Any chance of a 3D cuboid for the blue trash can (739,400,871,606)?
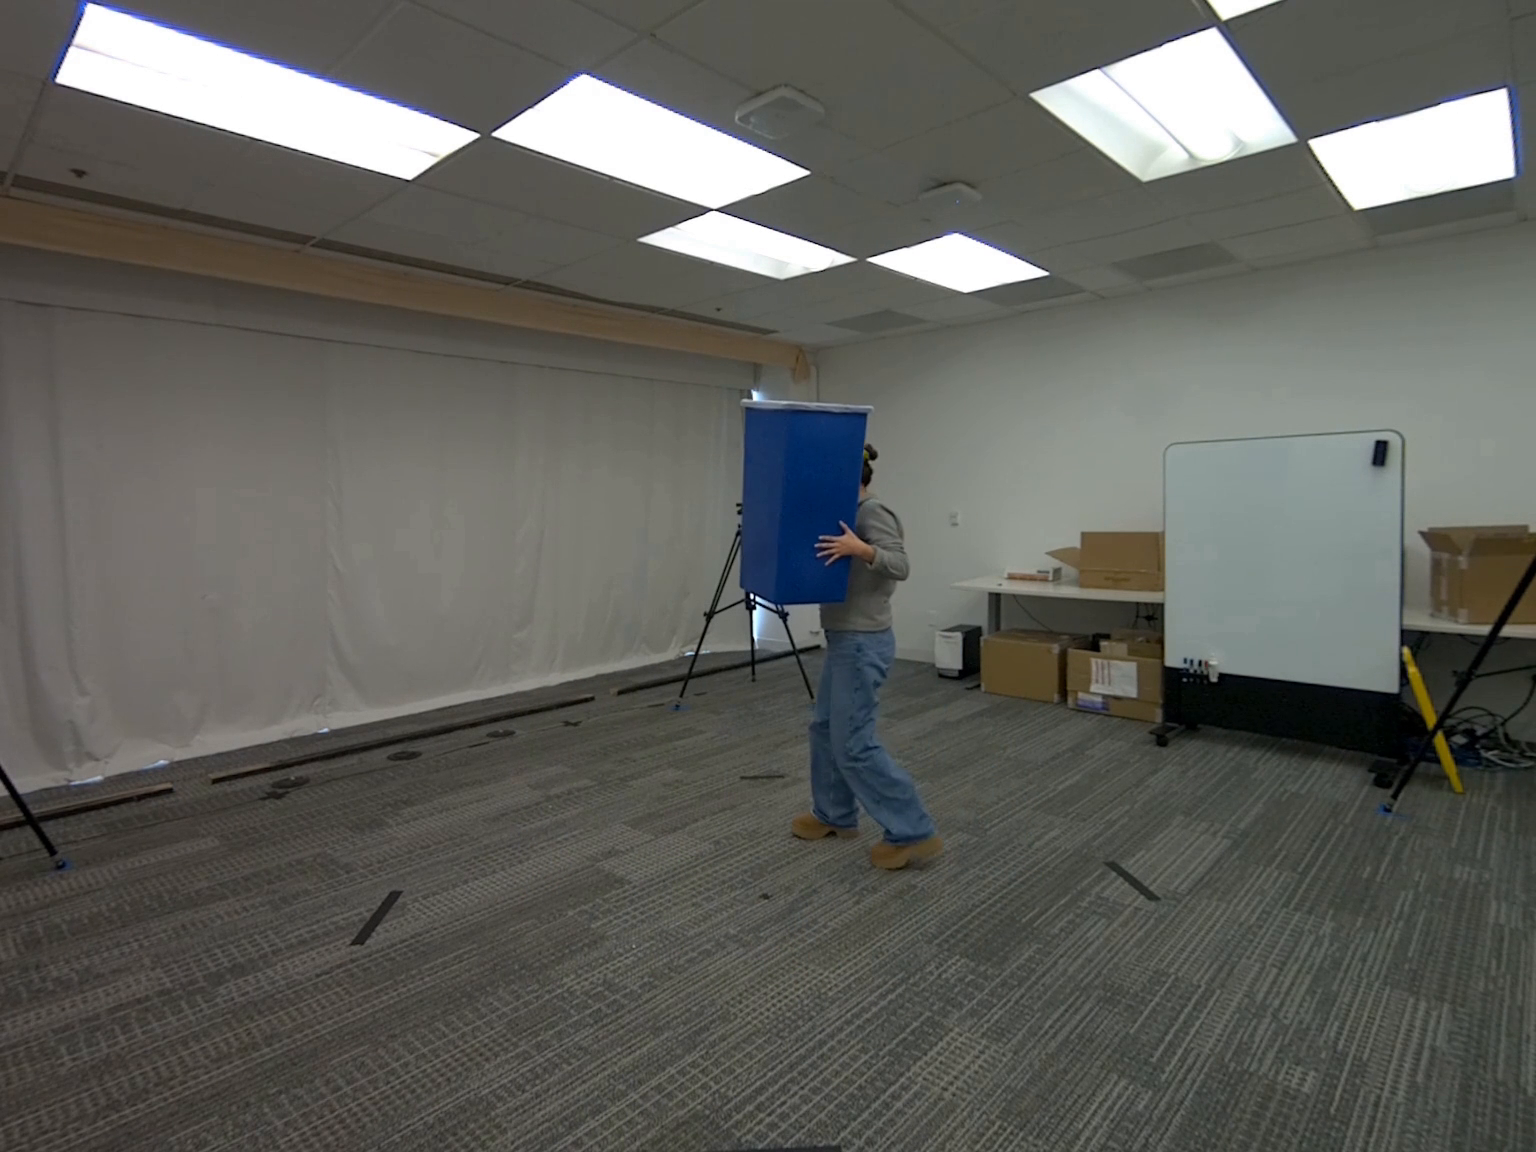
[{"bbox_3d":[0.119,-0.281,3.100,0.365,0.709,0.390,-1,11,-27],"label":"blue trash can"}]
